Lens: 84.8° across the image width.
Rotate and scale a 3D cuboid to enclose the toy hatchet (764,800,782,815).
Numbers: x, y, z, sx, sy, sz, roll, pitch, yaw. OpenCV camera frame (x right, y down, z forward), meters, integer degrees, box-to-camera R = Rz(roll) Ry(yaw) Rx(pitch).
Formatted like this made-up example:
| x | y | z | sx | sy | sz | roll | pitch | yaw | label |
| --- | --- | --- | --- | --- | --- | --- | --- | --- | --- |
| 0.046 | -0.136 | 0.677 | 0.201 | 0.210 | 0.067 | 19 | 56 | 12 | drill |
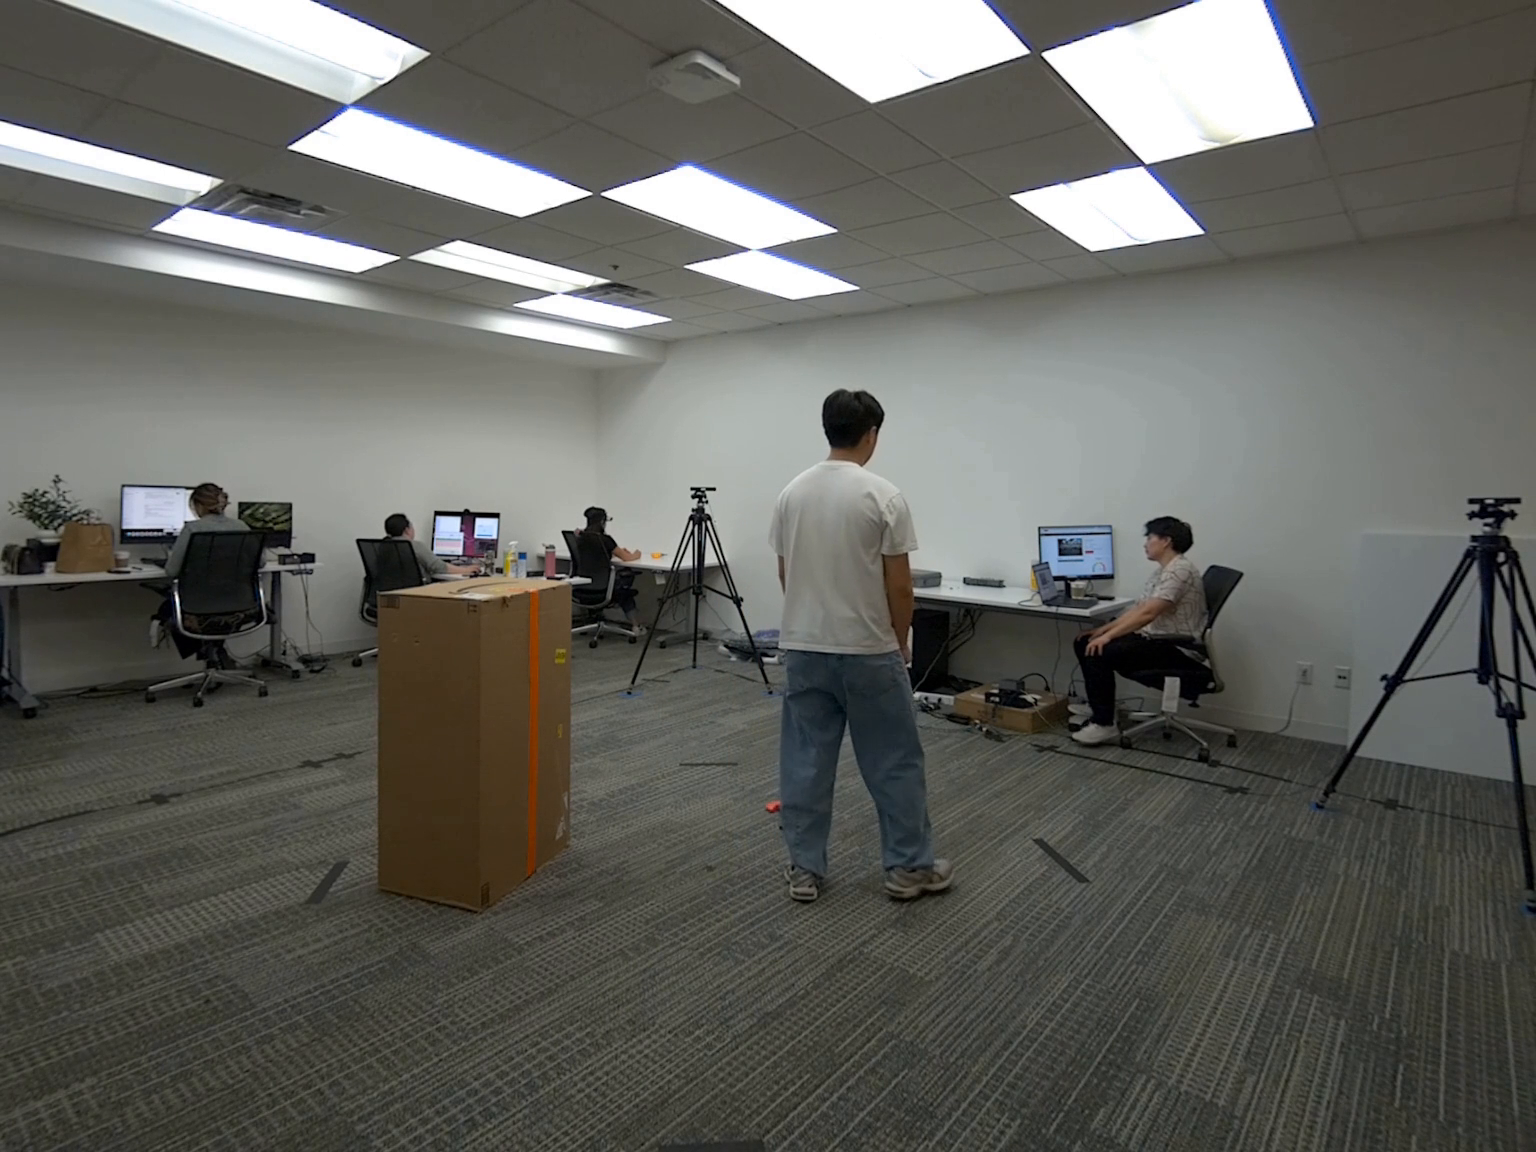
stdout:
| x | y | z | sx | sy | sz | roll | pitch | yaw | label |
| --- | --- | --- | --- | --- | --- | --- | --- | --- | --- |
| 0.032 | 1.006 | 3.600 | 0.132 | 0.029 | 0.268 | 2 | 7 | 9 | toy hatchet |
